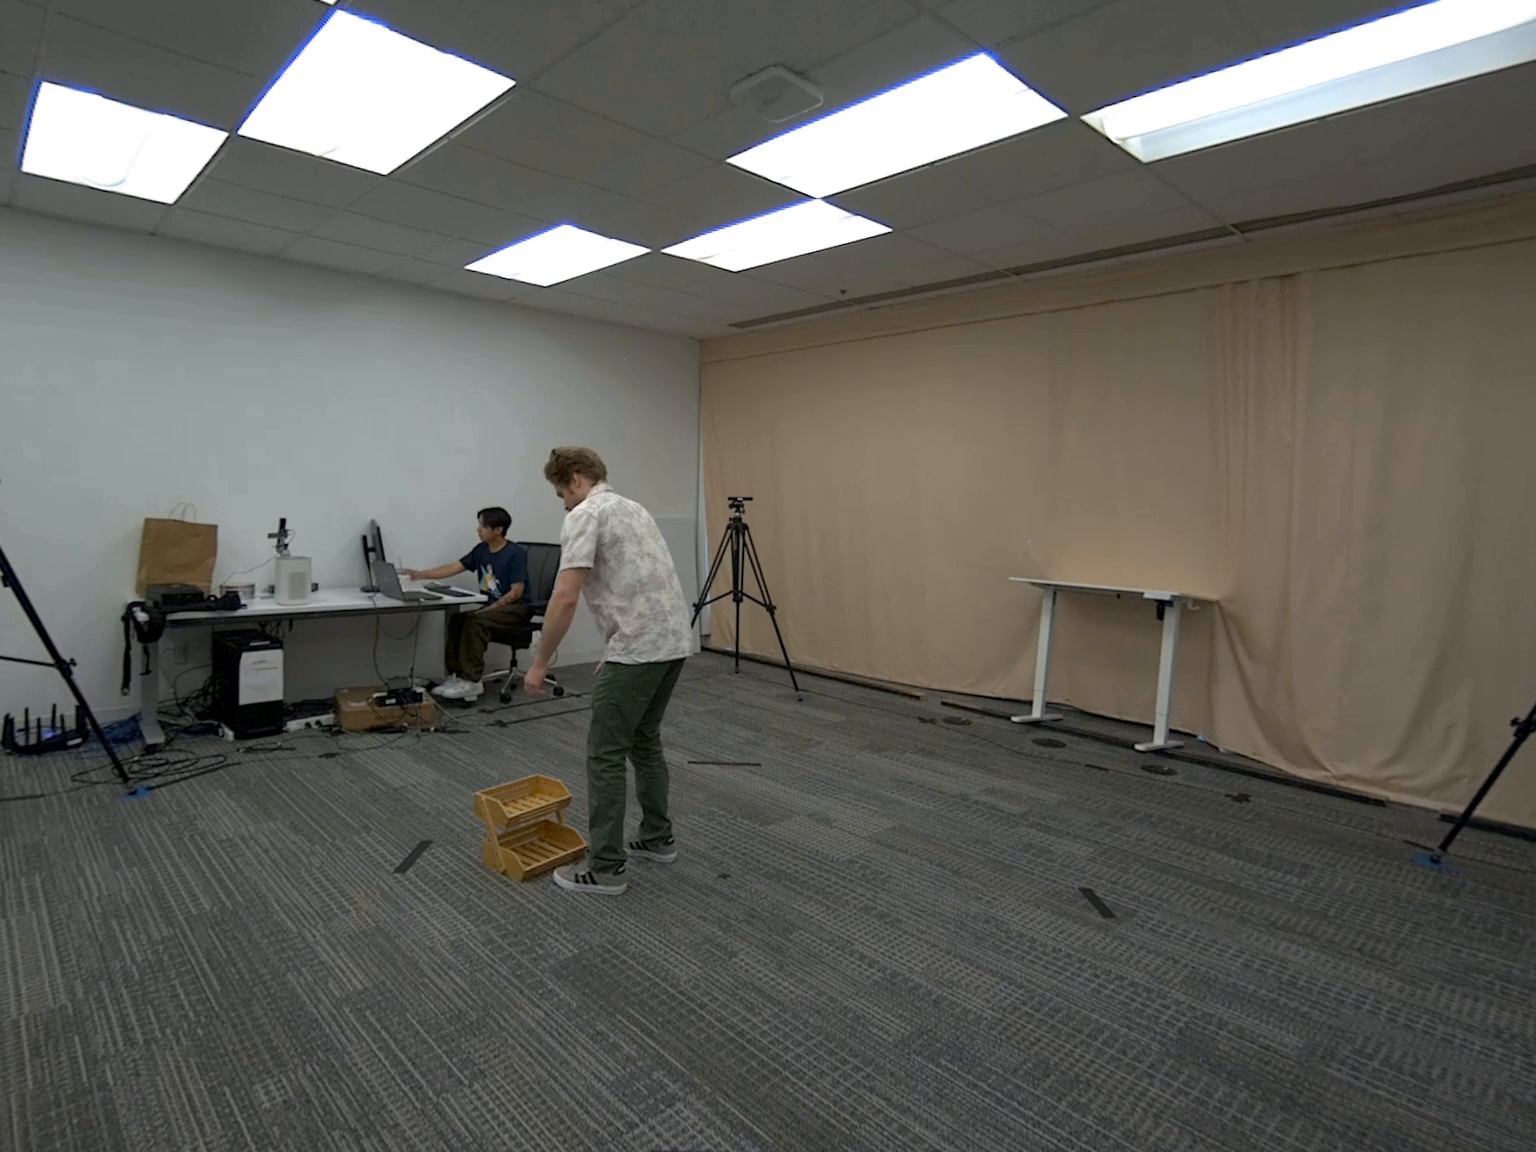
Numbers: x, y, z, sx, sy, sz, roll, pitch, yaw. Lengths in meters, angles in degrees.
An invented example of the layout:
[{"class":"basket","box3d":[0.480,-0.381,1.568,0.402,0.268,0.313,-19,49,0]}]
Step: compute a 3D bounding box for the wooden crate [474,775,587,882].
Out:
[{"class":"wooden crate","box3d":[-0.913,0.949,3.207,0.309,0.273,0.317,4,5,36]}]
